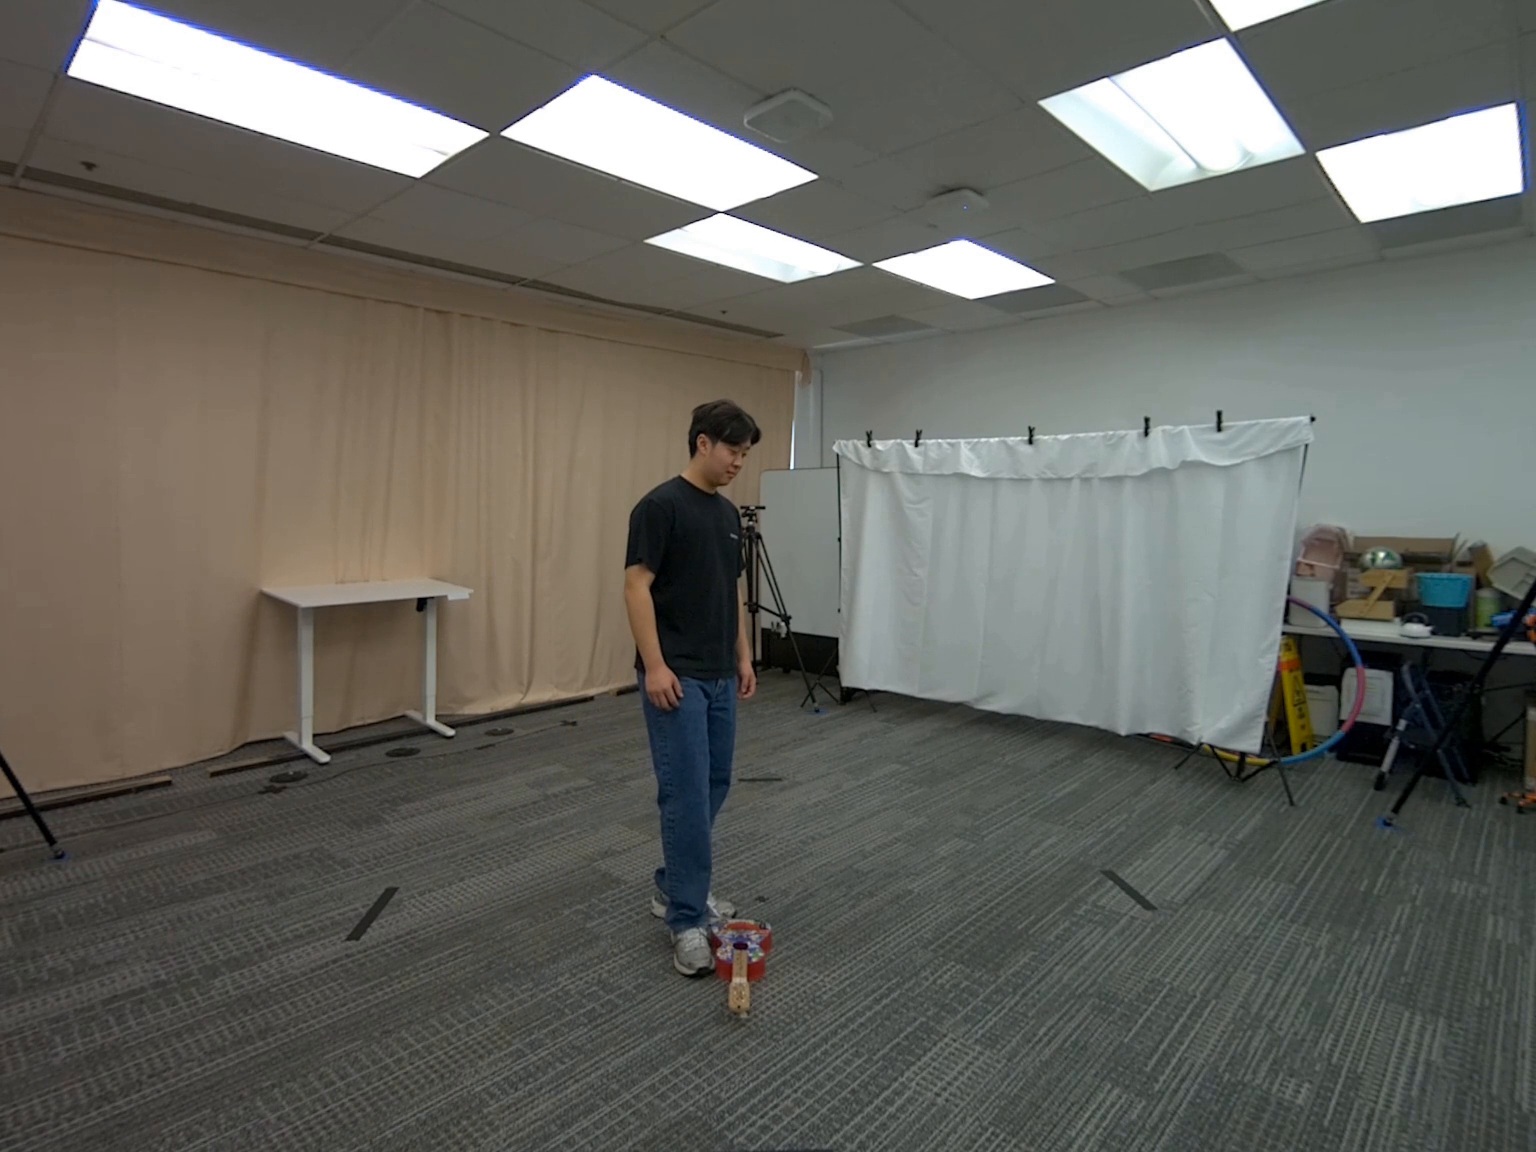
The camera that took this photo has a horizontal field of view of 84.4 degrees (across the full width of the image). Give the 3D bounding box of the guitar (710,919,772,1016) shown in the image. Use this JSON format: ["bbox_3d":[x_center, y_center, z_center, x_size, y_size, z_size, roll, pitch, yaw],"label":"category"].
[{"bbox_3d":[-0.103,1.151,2.477,0.195,0.070,0.494,1,4,7],"label":"guitar"}]
